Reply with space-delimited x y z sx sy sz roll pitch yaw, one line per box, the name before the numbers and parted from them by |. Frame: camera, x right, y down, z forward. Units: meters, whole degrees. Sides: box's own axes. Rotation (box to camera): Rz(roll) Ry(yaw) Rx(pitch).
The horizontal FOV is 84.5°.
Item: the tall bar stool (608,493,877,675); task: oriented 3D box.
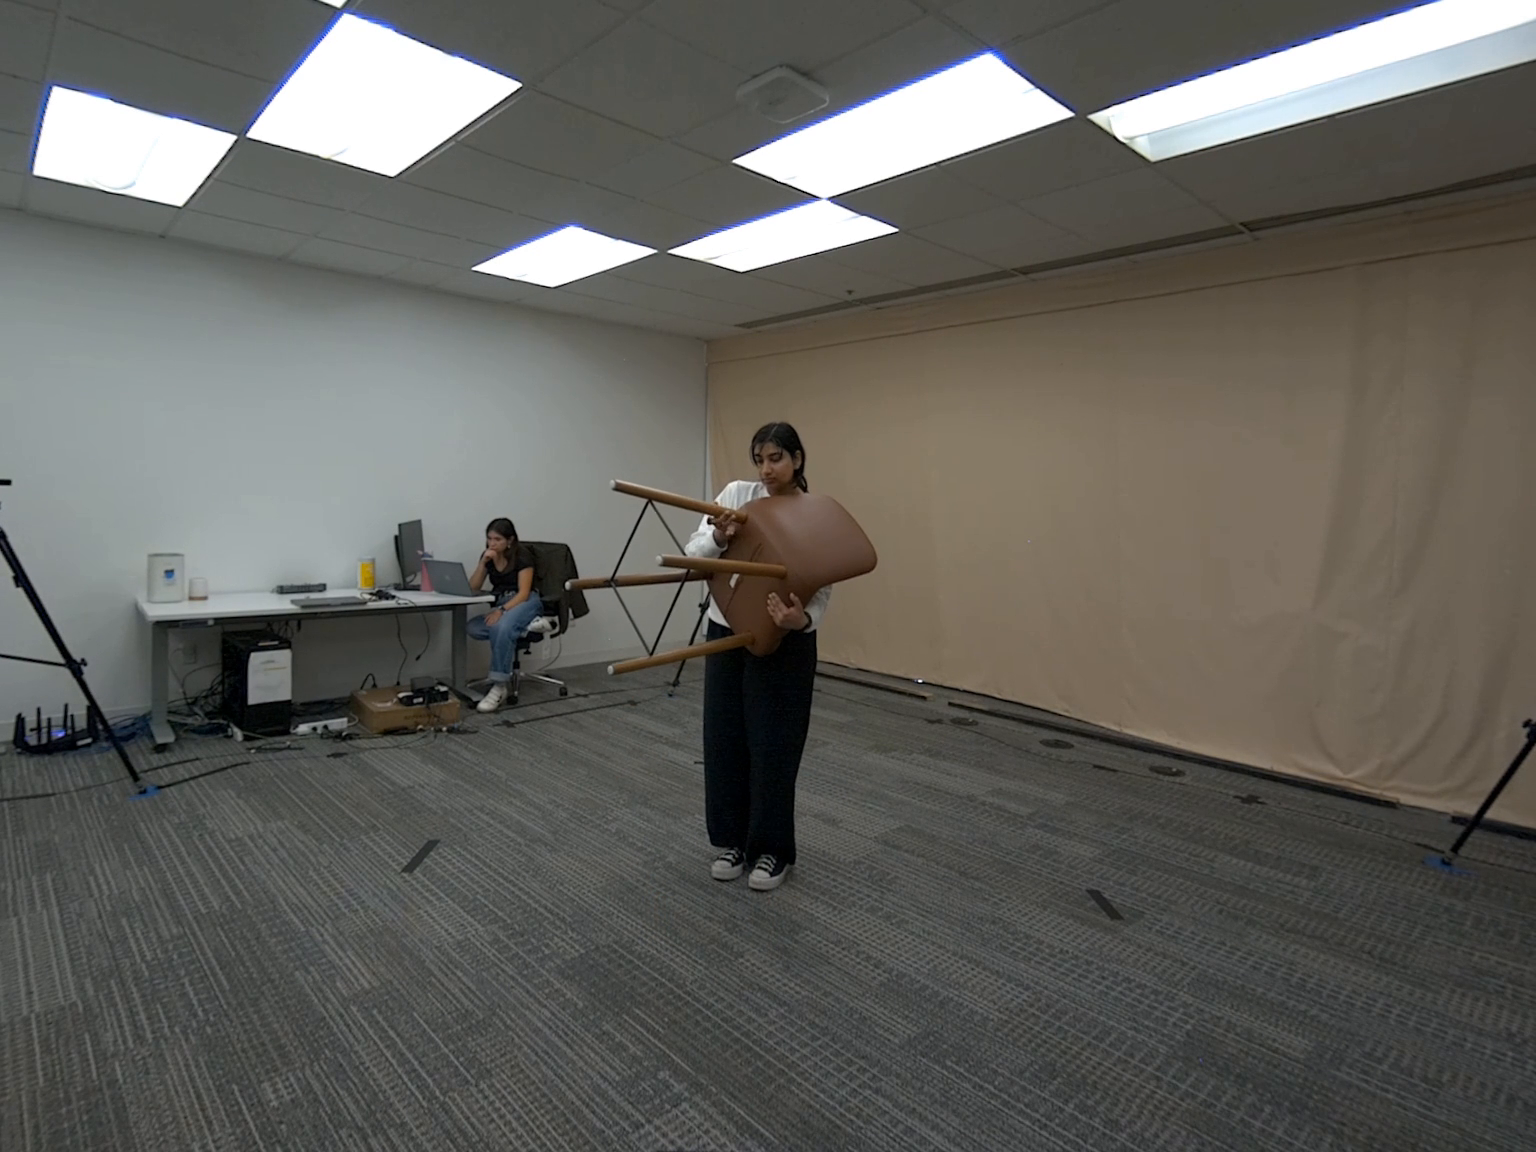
tall bar stool | -0.136 -0.006 2.773 0.870 0.464 0.470 -2 43 -37
